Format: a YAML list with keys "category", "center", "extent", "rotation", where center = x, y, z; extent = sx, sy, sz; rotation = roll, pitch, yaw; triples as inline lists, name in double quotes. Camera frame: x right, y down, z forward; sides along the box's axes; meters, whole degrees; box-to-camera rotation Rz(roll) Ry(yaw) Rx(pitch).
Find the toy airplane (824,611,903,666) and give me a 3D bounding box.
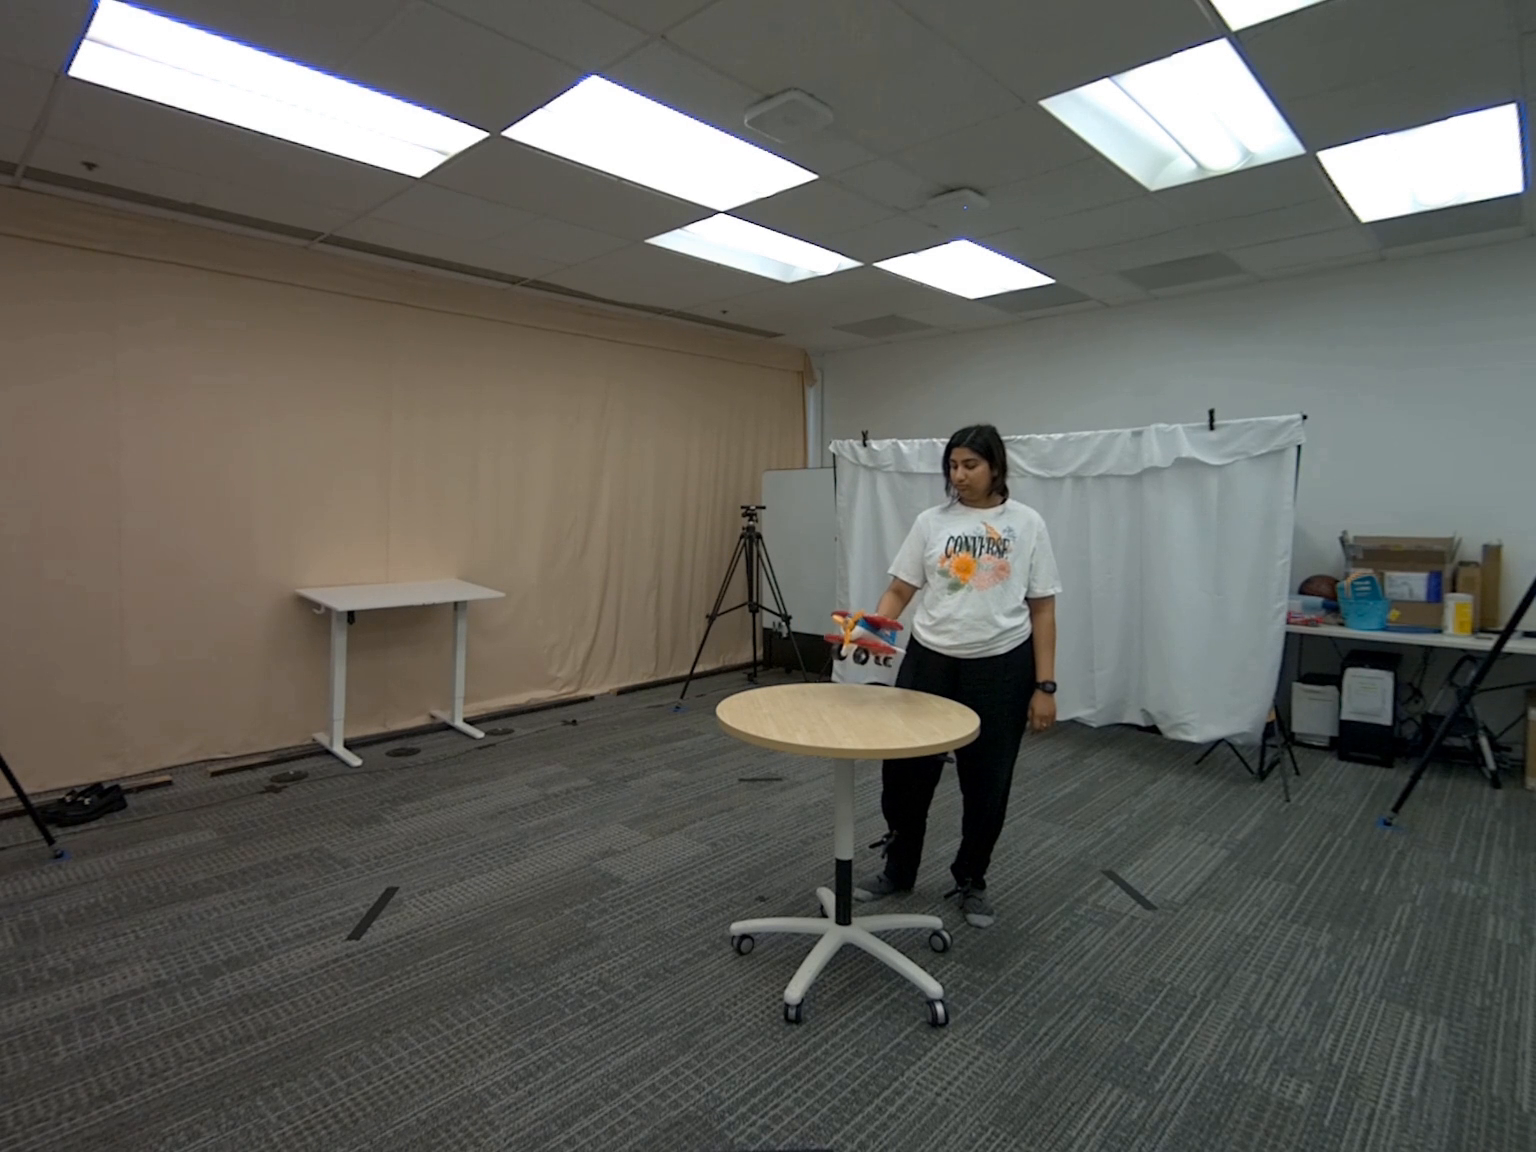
- category: "toy airplane"
  center: [0.308, 0.200, 2.642]
  extent: [0.257, 0.157, 0.253]
  rotation: [6, -3, 20]
